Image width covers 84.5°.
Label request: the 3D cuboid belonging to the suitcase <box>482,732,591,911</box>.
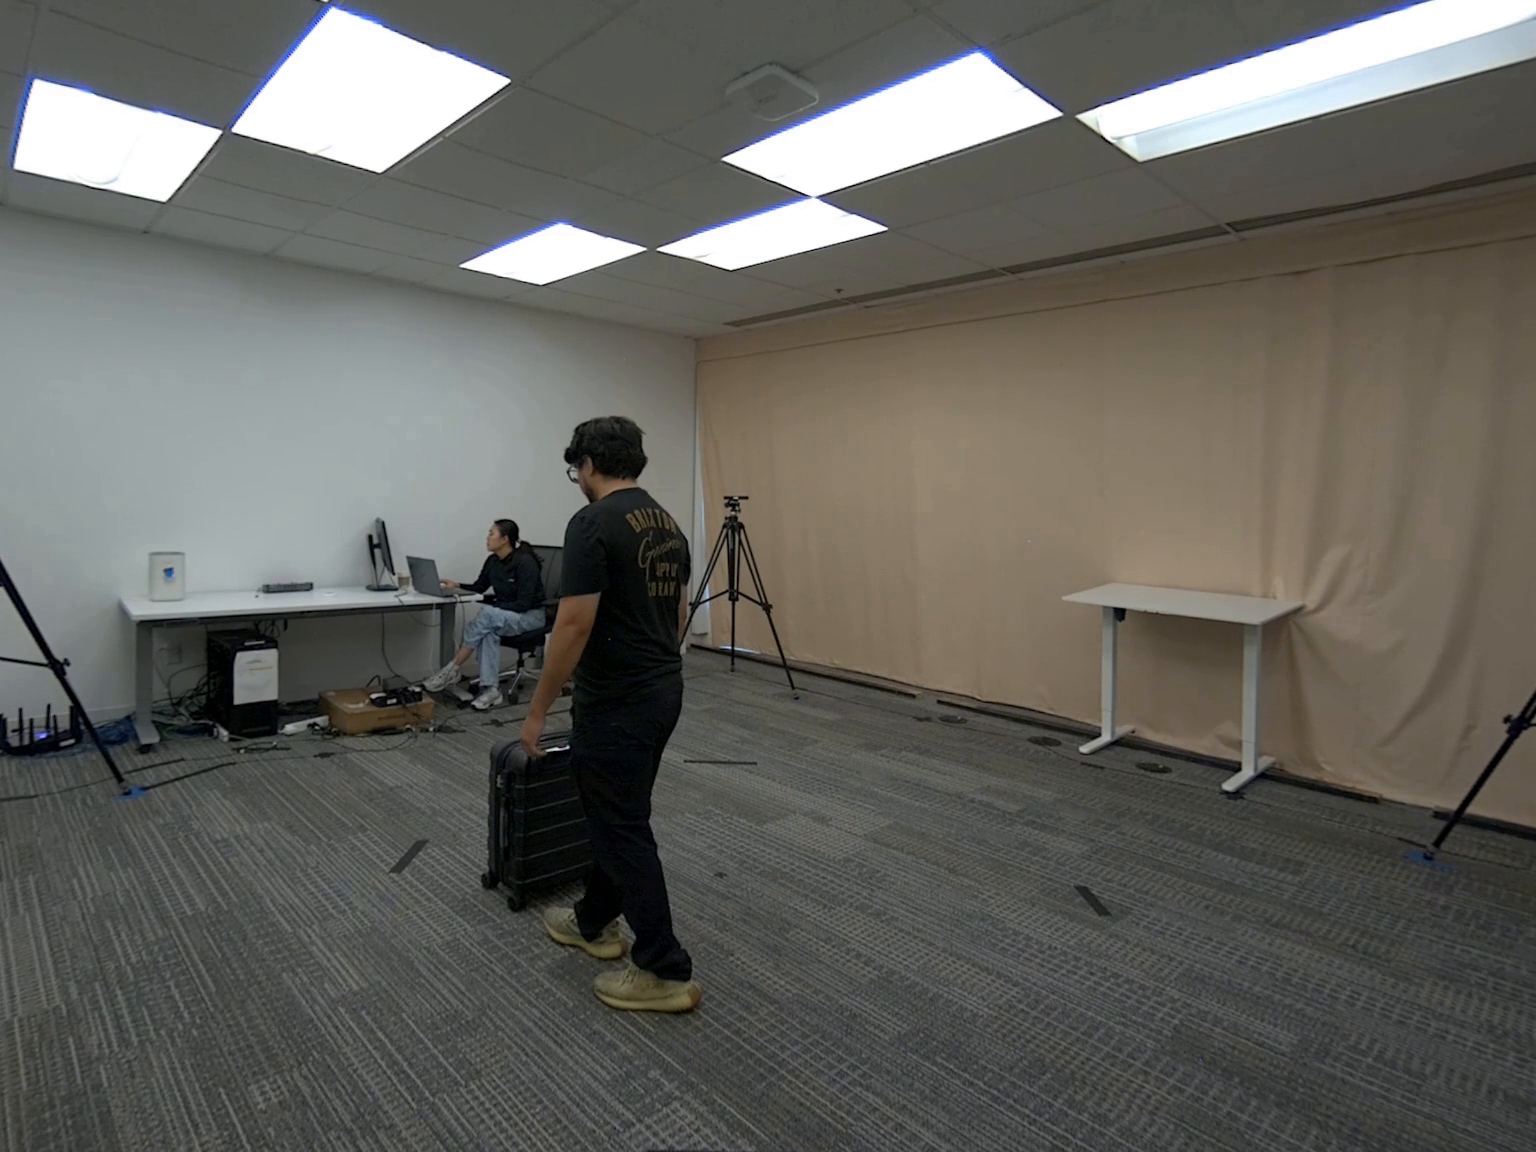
[{"bbox_3d":[-0.794,0.828,2.957,0.367,0.547,0.255,-2,7,-41],"label":"suitcase"}]
